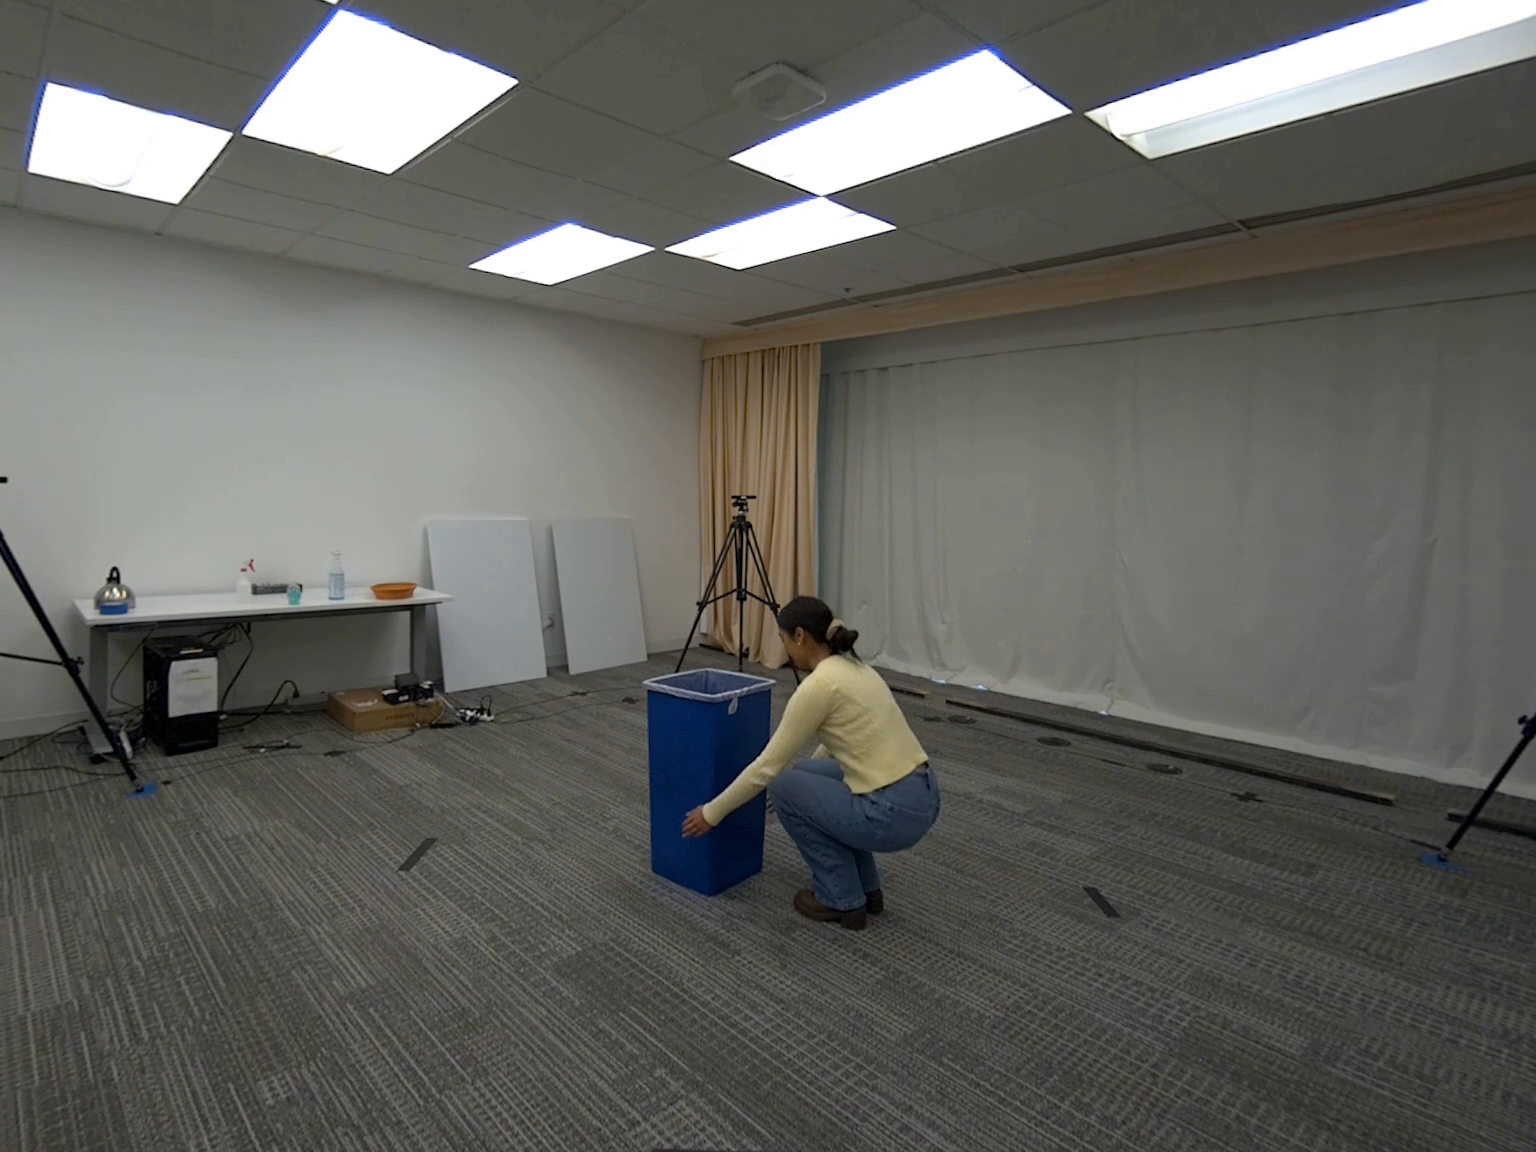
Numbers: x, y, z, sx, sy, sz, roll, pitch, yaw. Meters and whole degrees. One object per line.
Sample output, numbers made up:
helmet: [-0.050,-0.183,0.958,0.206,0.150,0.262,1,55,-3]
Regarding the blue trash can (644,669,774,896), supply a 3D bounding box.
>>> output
blue trash can: [-0.230,0.742,3.113,0.383,0.712,0.370,4,5,39]
